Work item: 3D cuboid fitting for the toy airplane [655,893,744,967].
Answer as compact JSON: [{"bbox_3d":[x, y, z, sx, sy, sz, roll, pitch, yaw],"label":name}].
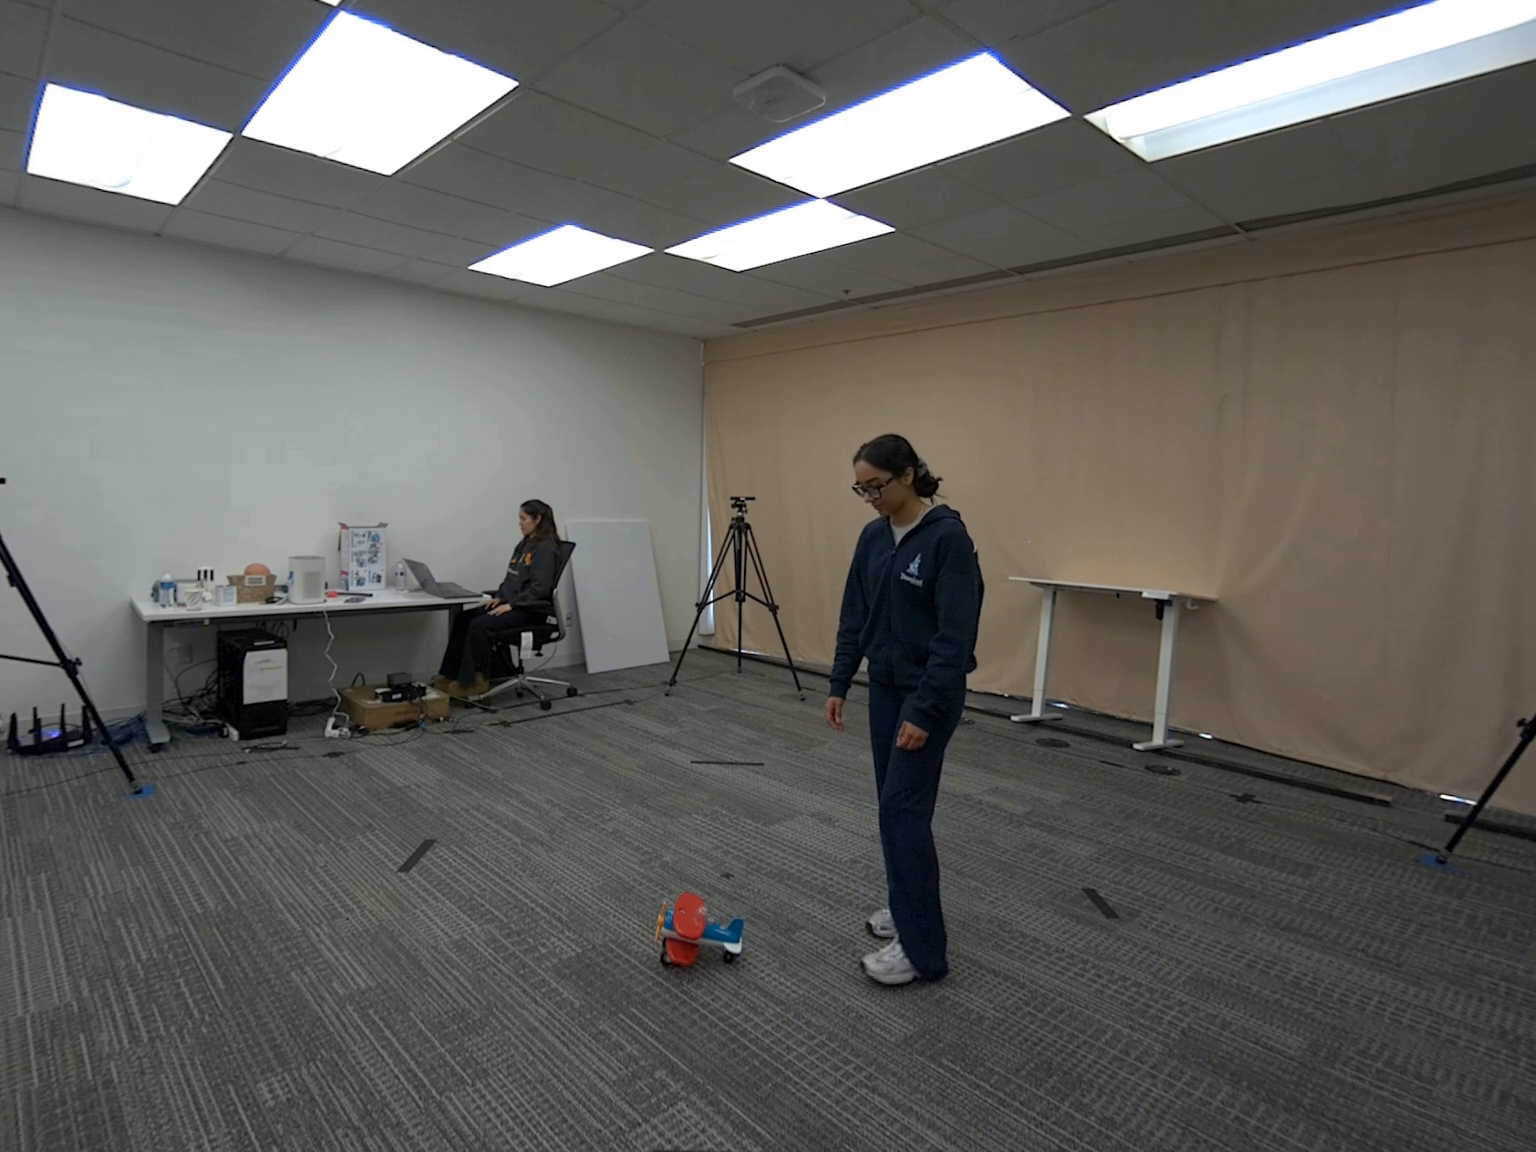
[{"bbox_3d":[-0.212,1.077,2.553,0.254,0.156,0.257,-2,6,-28],"label":"toy airplane"}]
